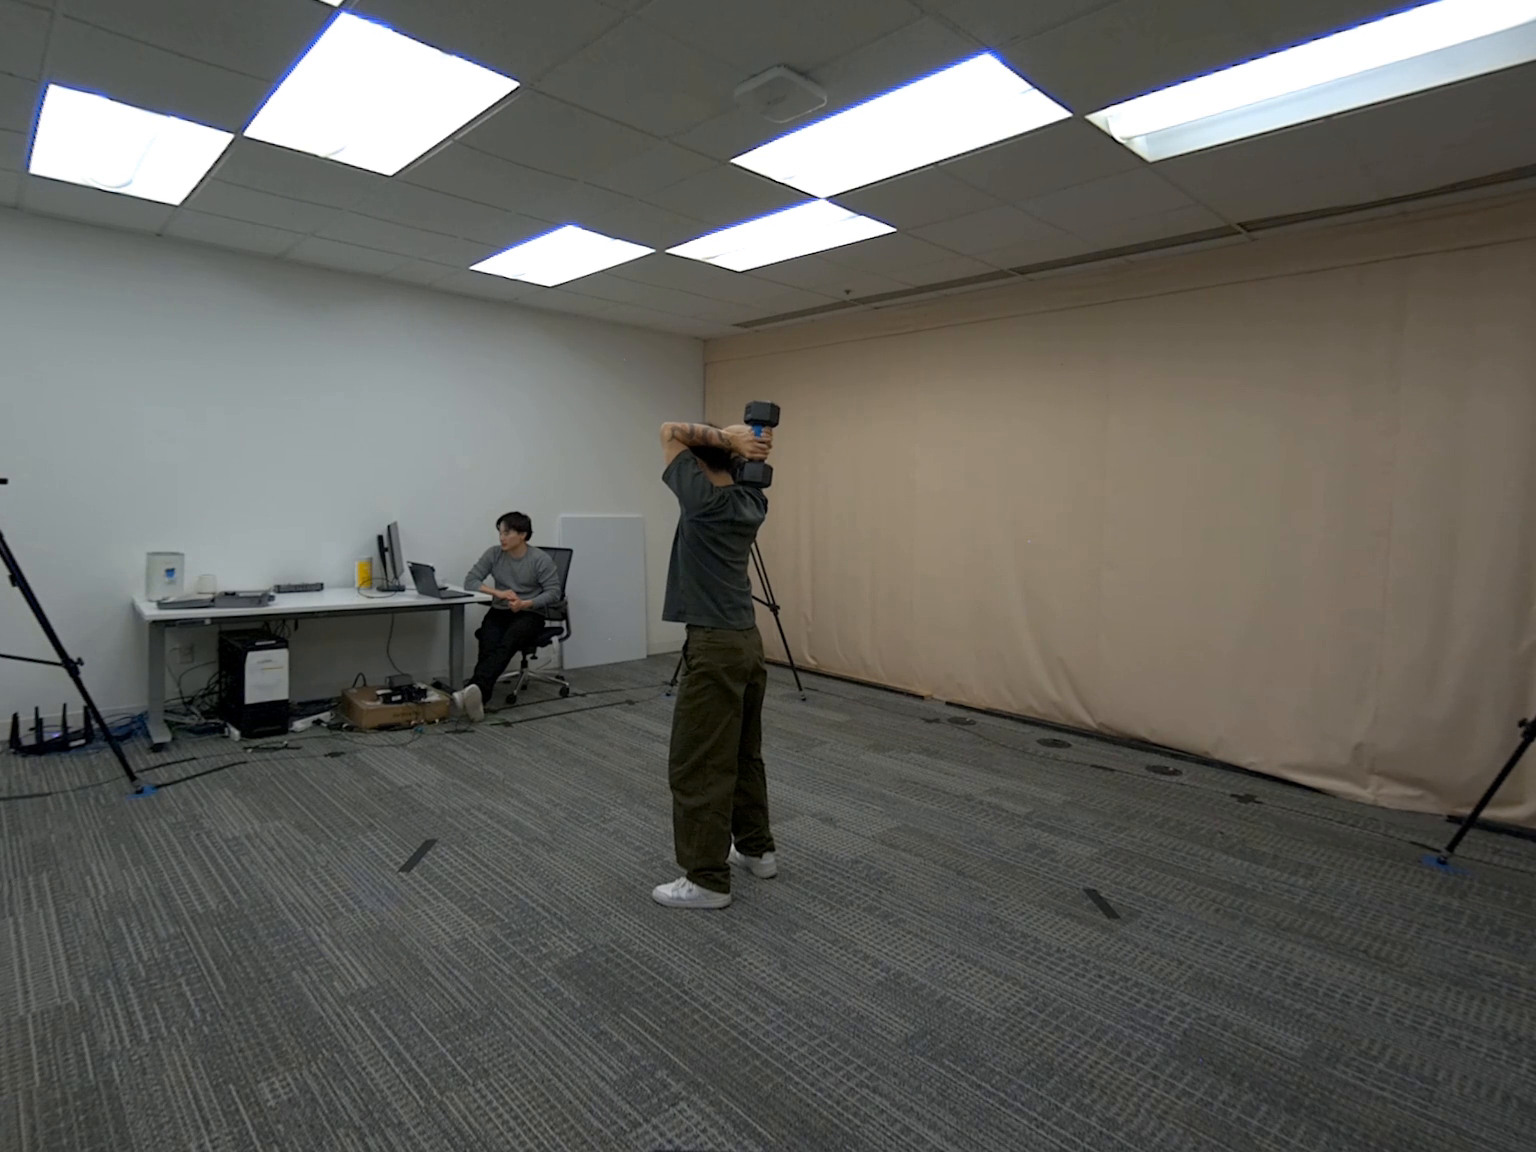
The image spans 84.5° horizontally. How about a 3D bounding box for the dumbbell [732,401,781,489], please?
[{"bbox_3d":[-0.048,-0.459,2.881,0.106,0.295,0.125,11,-8,-24],"label":"dumbbell"}]
